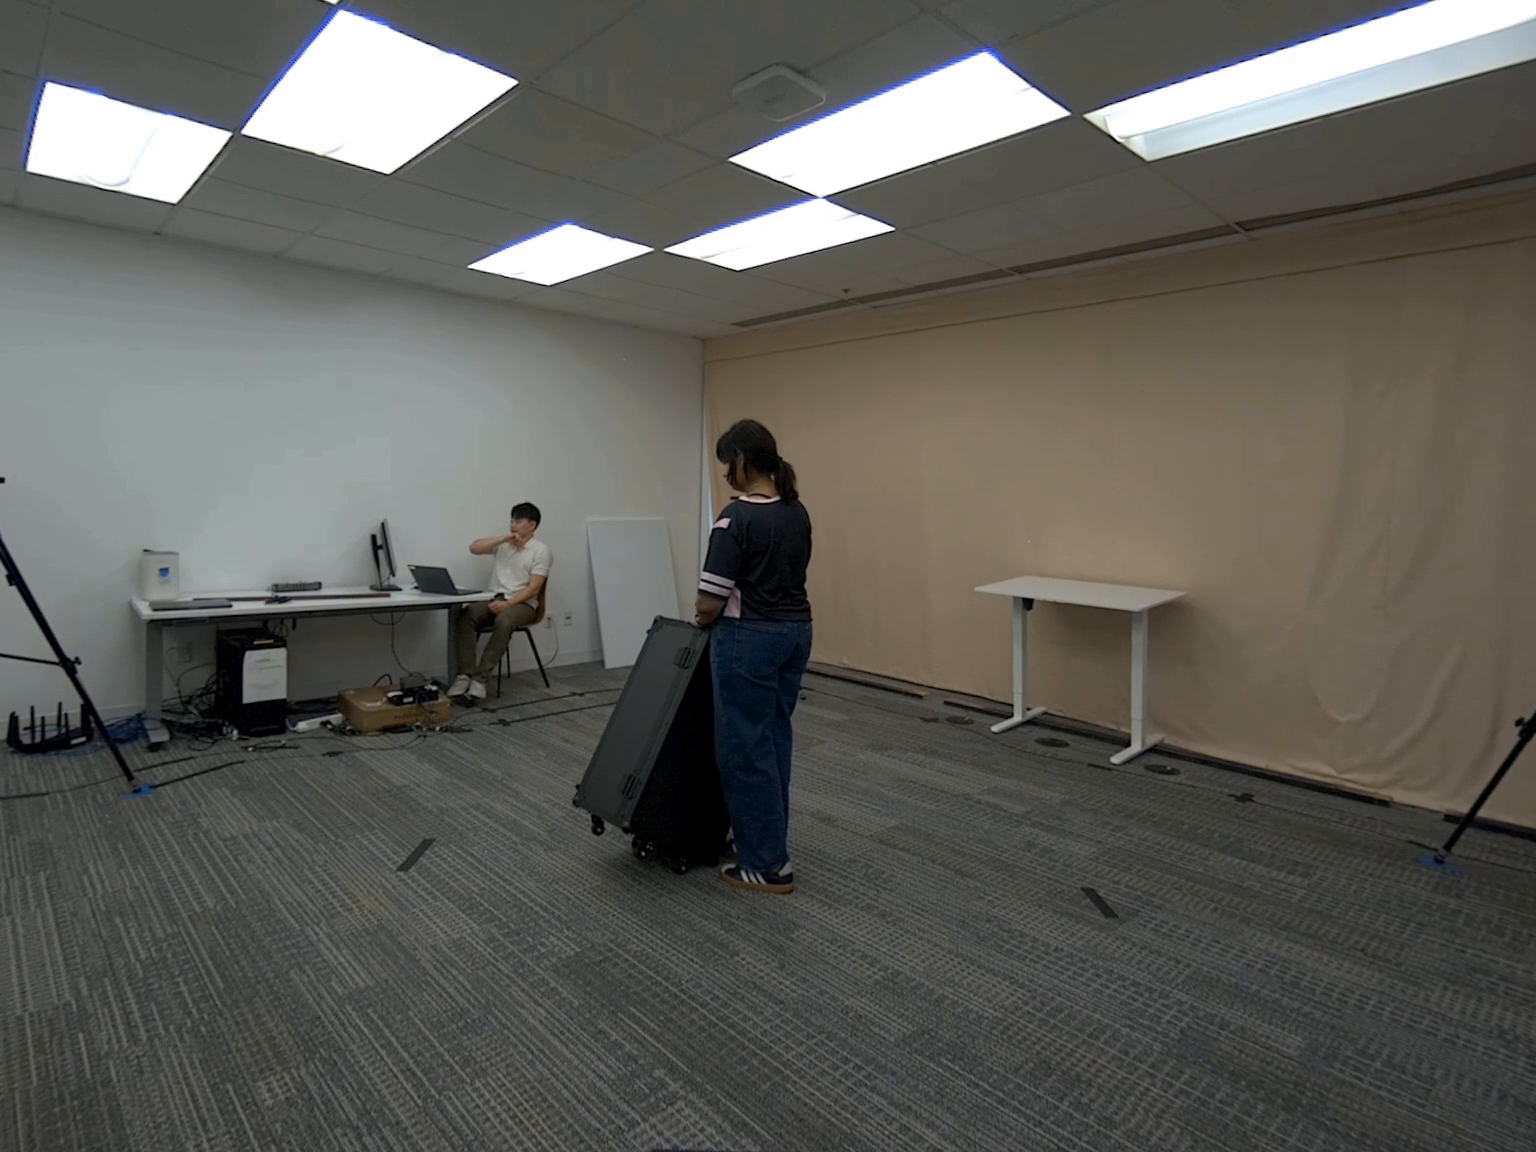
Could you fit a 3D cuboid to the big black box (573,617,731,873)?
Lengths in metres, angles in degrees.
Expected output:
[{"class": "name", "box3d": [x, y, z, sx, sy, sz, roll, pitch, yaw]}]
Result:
[{"class": "big black box", "box3d": [-0.351, 0.657, 3.260, 0.395, 0.874, 0.507, 5, -24, 45]}]
